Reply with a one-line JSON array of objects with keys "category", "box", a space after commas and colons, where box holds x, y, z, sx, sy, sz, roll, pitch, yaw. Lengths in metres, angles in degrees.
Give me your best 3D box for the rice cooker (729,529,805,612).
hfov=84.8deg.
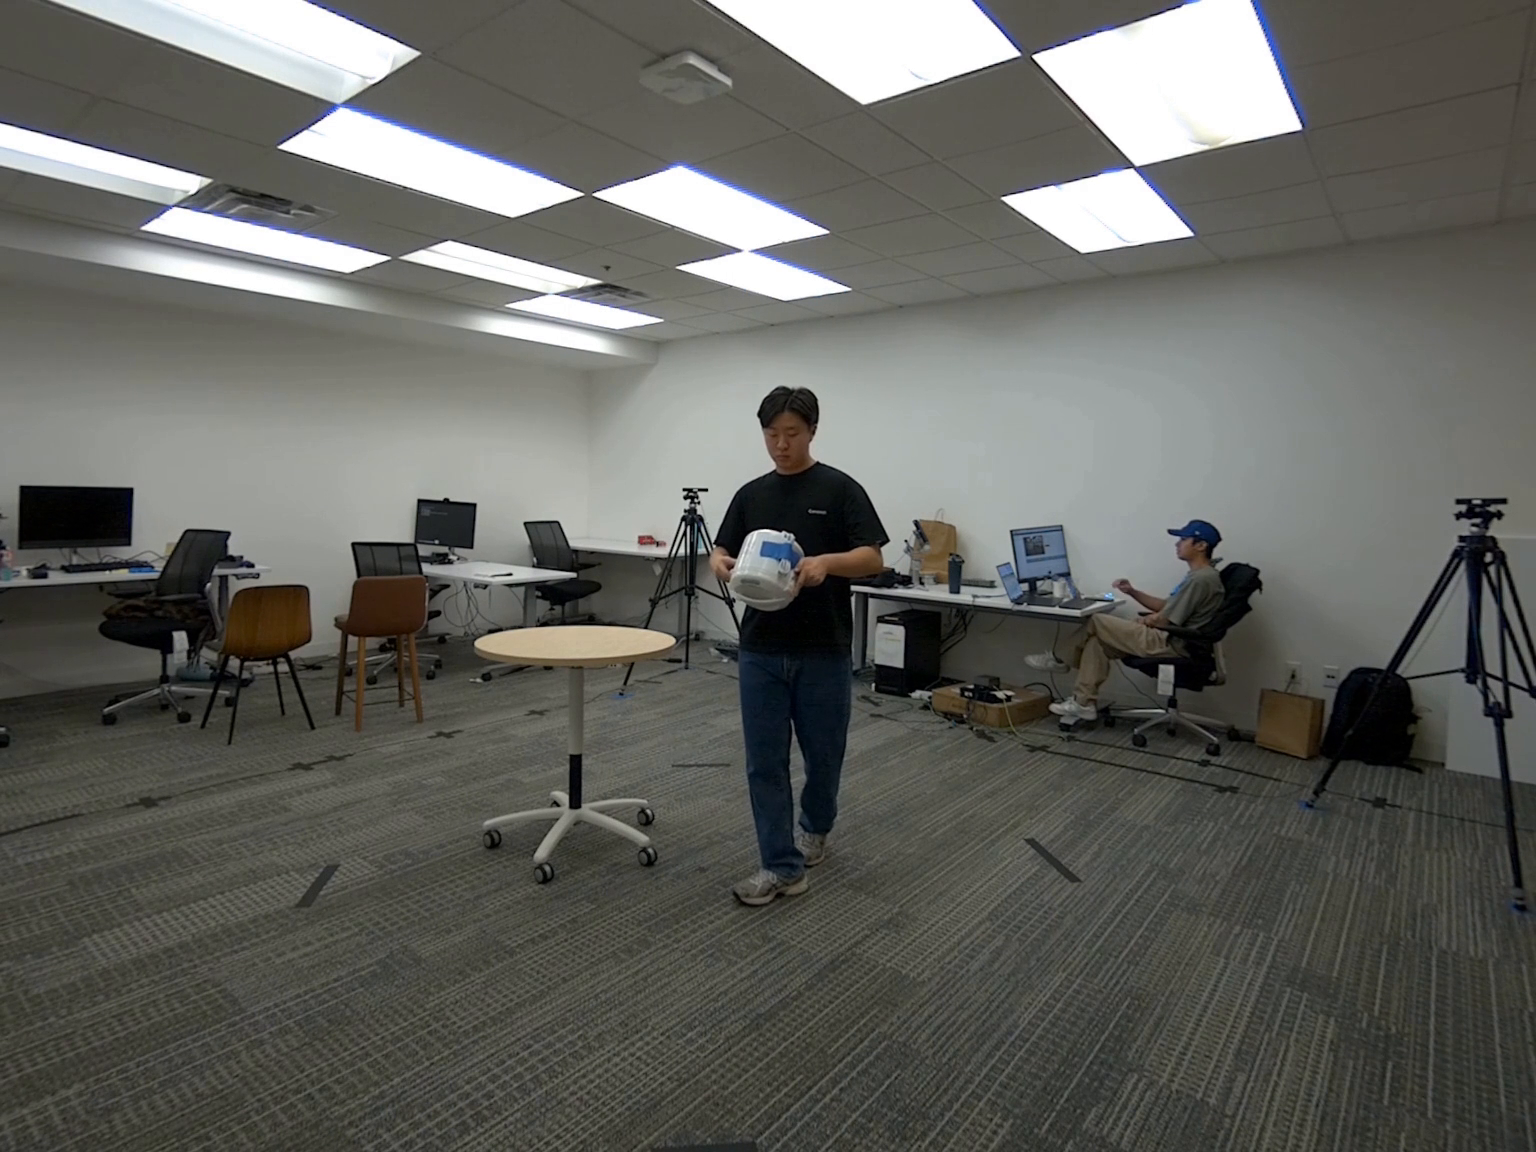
[{"category": "rice cooker", "box": [-0.012, -0.013, 2.731, 0.227, 0.235, 0.209, 9, -30, 25]}]
